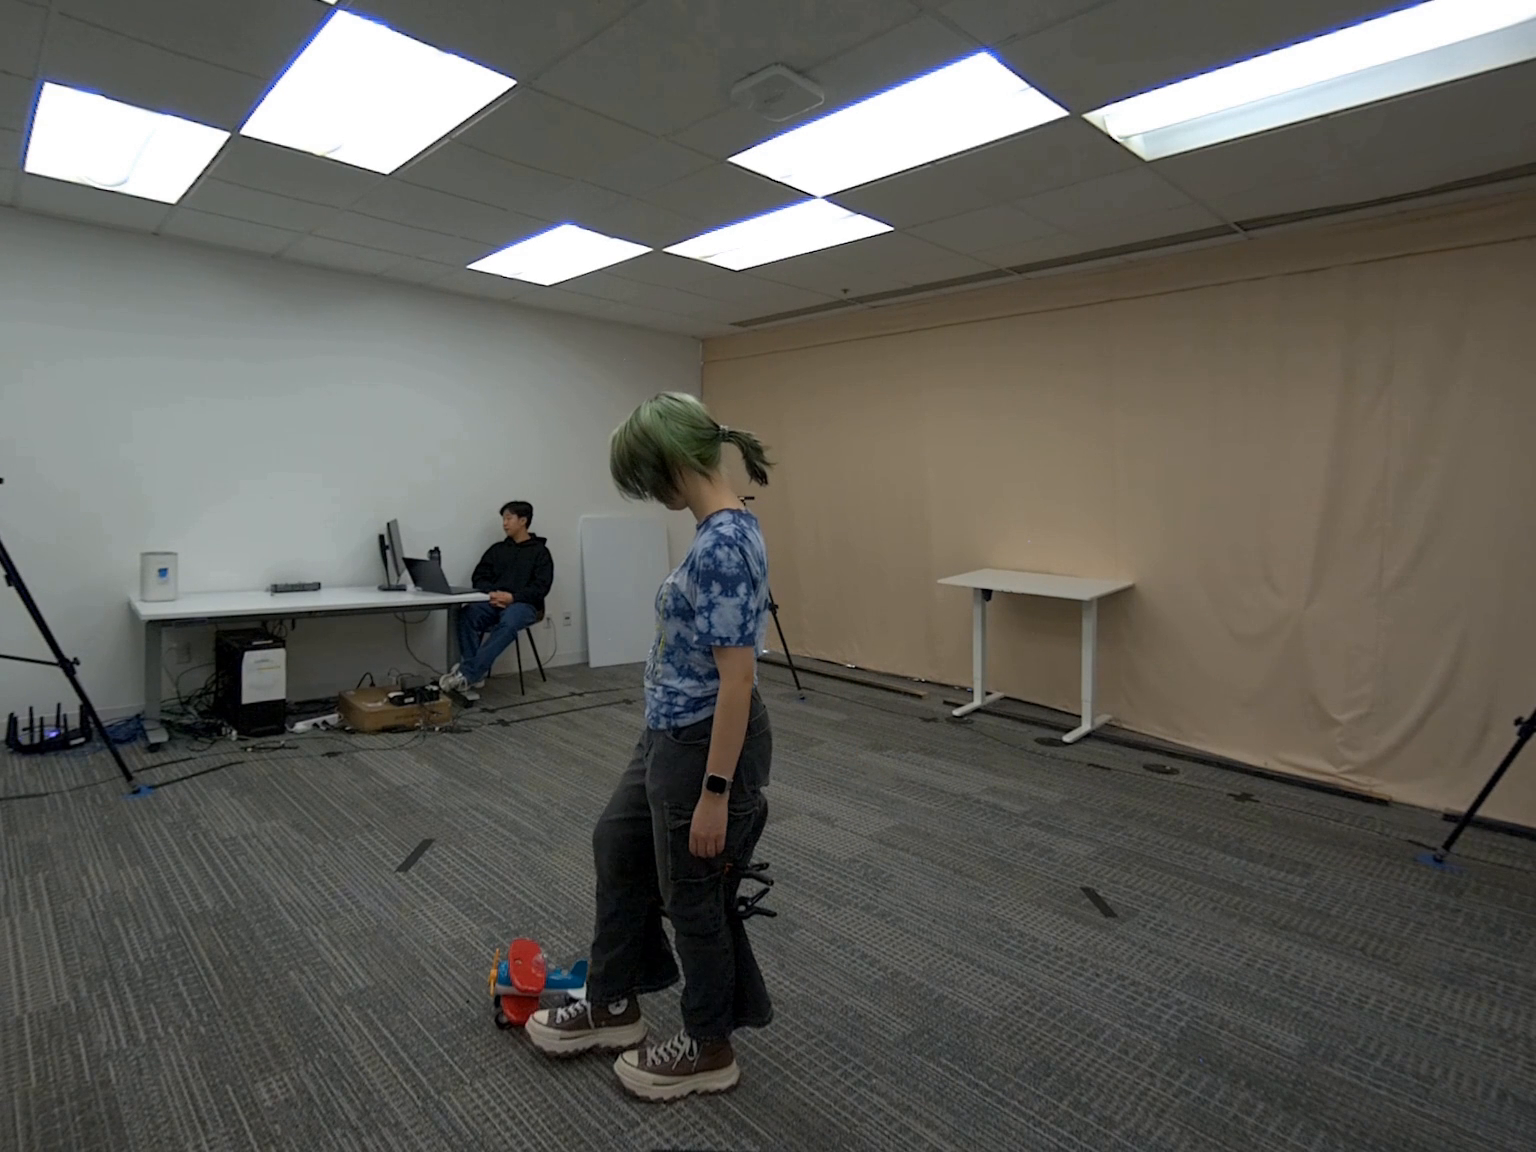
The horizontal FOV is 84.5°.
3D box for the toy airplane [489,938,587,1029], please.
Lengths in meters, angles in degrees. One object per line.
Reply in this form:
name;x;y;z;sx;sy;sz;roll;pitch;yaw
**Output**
toy airplane;-0.631;1.102;2.259;0.257;0.156;0.253;6;8;44
